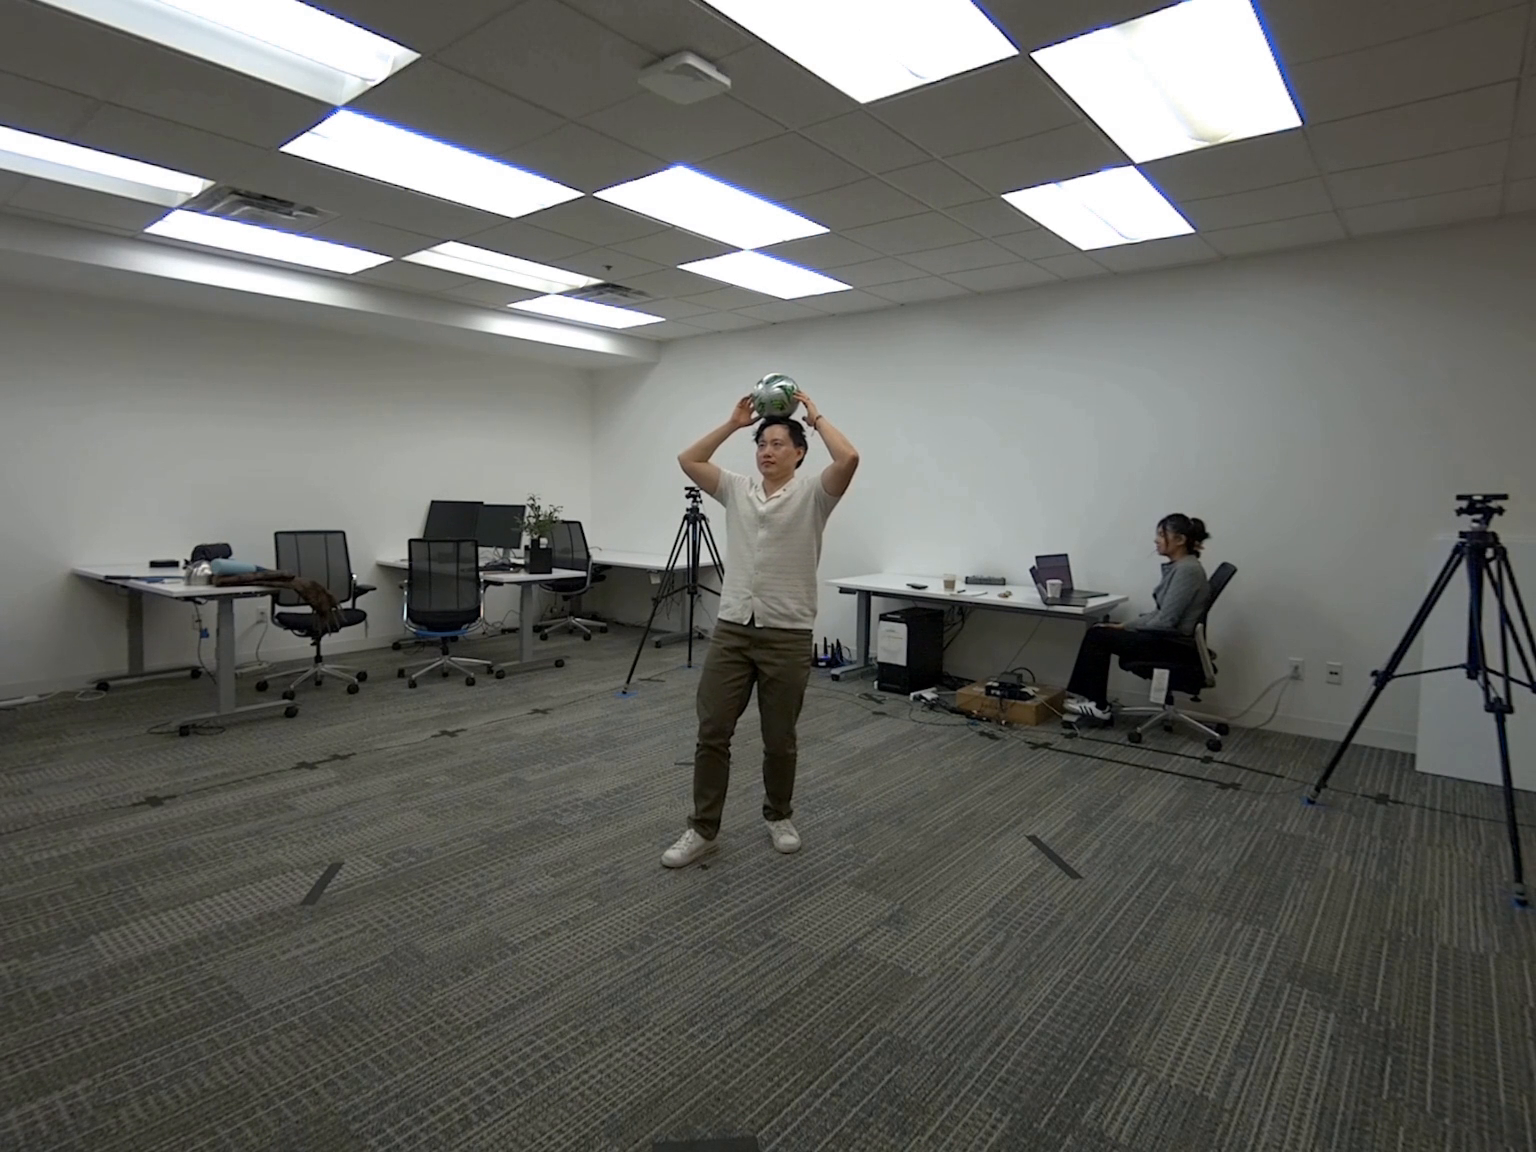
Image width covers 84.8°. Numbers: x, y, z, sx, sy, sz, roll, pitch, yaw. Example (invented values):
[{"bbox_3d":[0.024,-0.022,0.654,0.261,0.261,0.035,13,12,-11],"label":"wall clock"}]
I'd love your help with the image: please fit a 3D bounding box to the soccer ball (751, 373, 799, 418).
[{"bbox_3d":[0.024,-0.698,3.329,0.187,0.187,0.188,1,4,-2],"label":"soccer ball"}]
